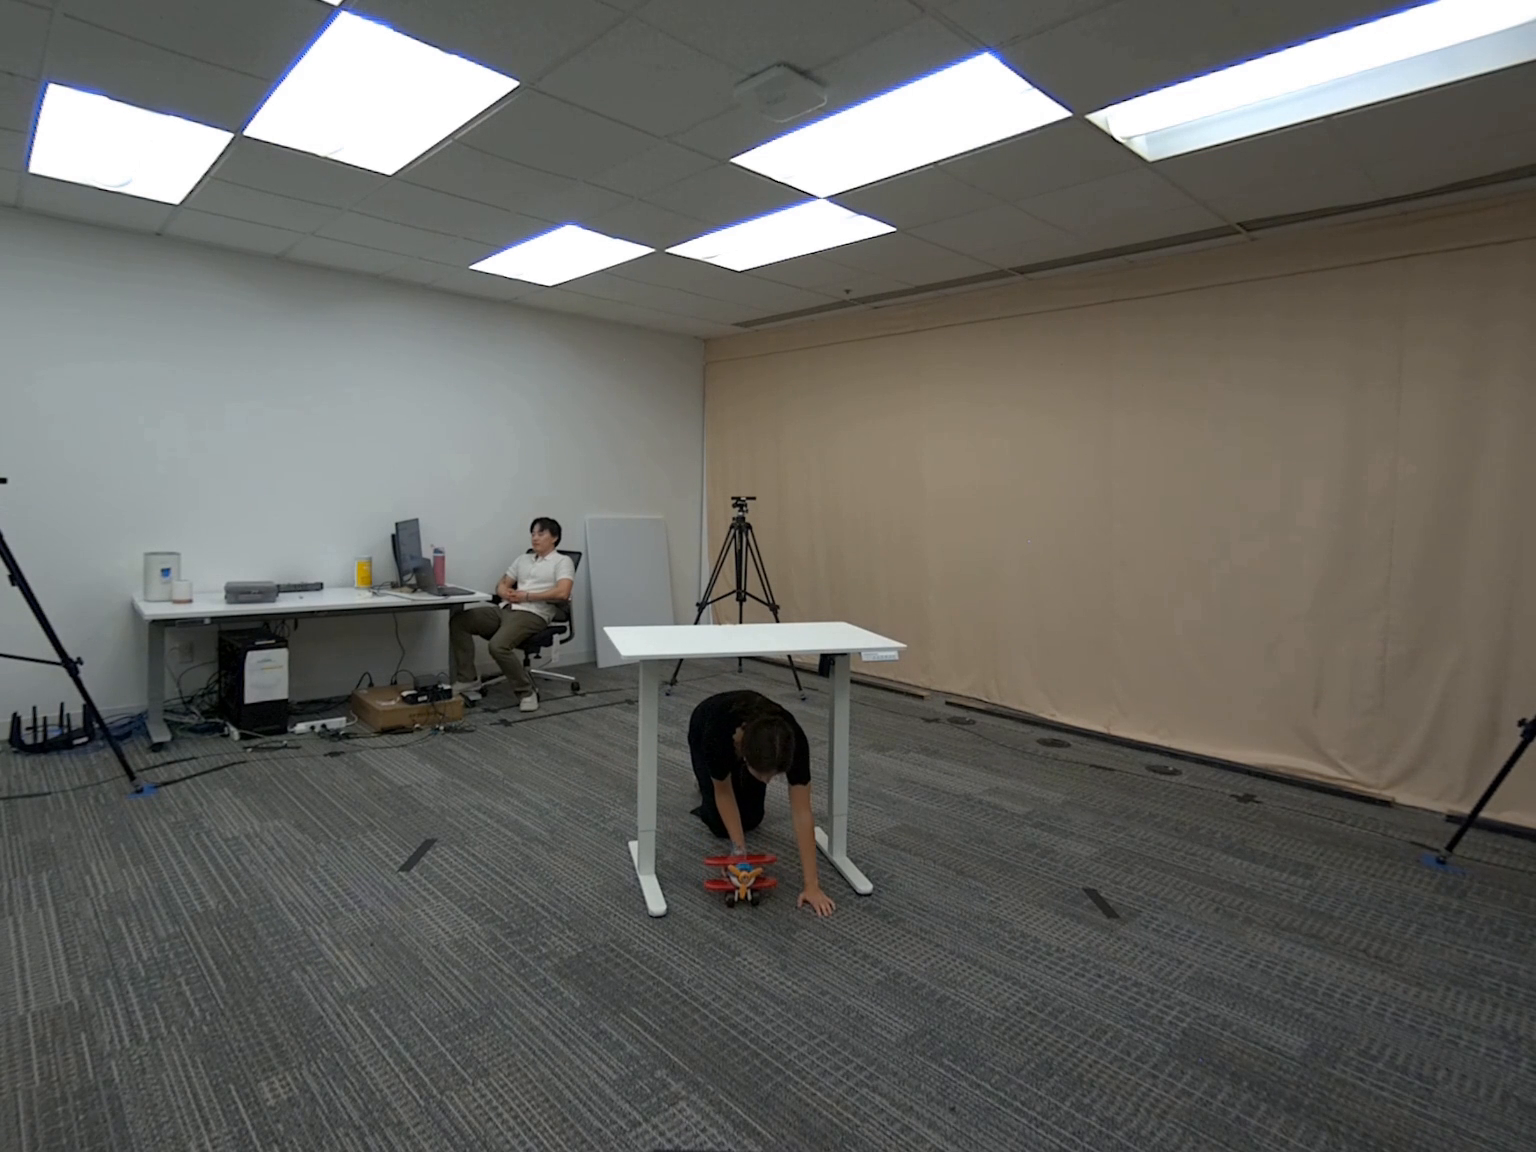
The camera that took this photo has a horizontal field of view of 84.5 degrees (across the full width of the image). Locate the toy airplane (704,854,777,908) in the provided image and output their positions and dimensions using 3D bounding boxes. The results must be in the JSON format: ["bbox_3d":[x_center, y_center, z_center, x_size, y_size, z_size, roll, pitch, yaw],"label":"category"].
[{"bbox_3d":[-0.138,1.043,2.950,0.246,0.155,0.266,-5,11,-36],"label":"toy airplane"}]
